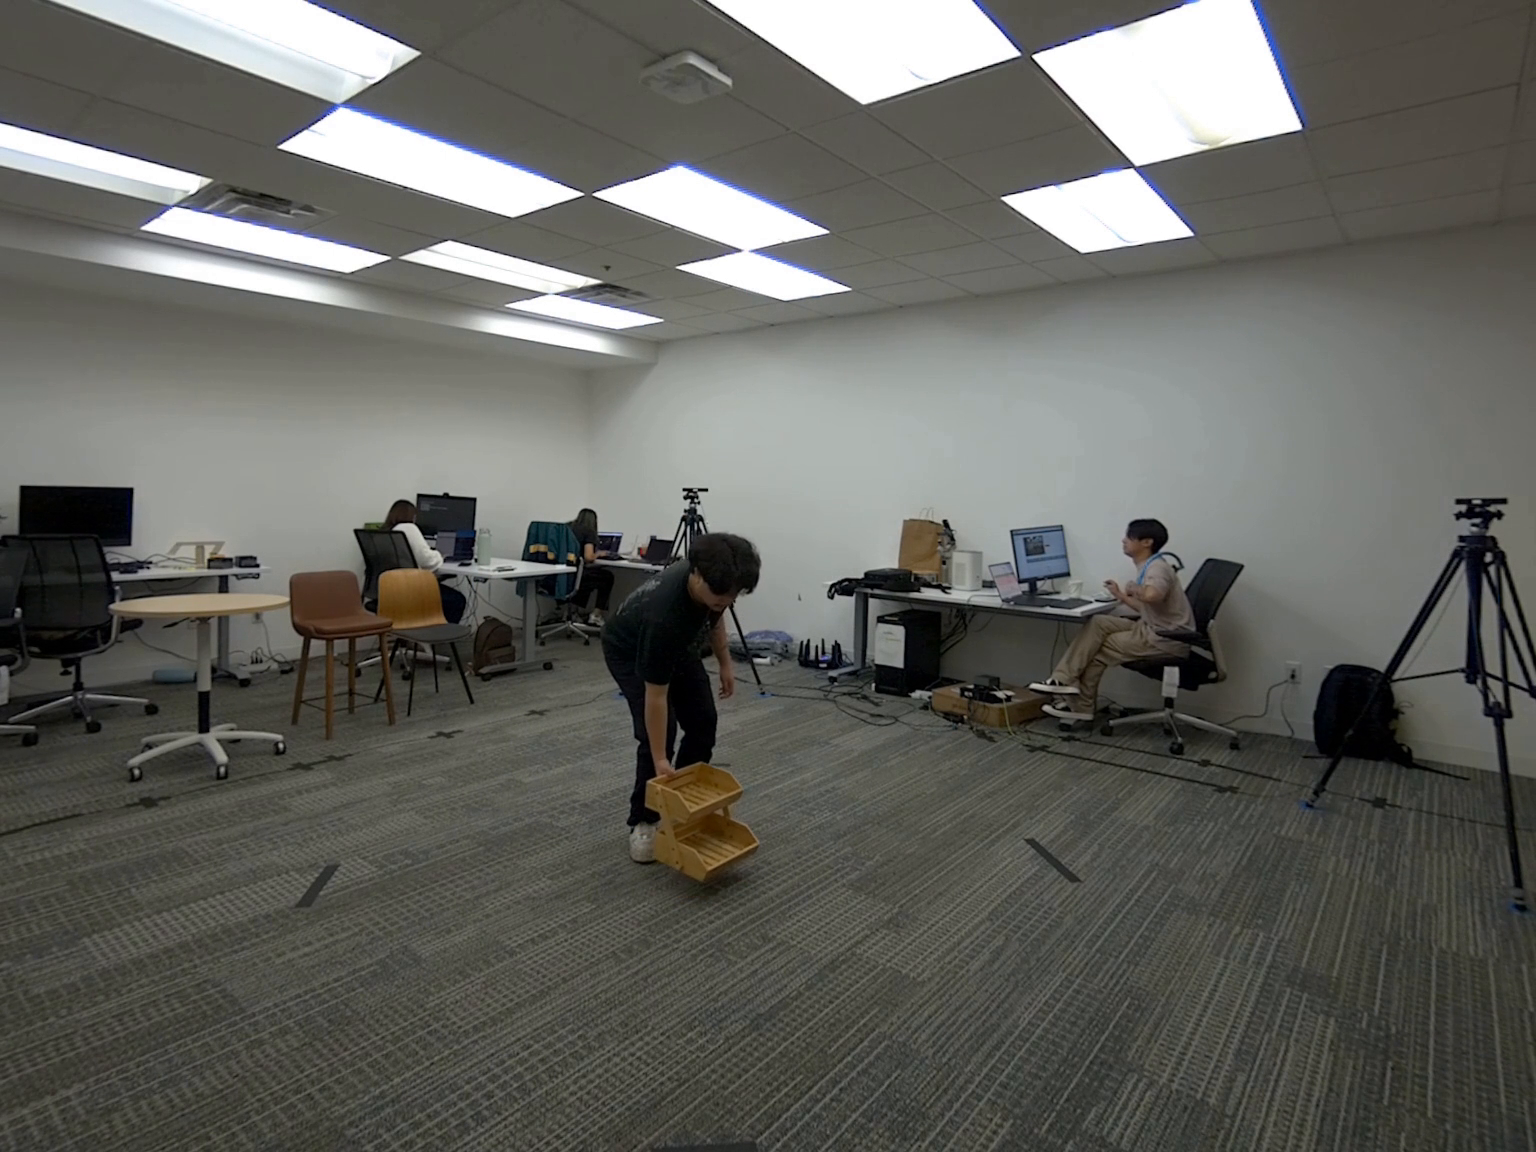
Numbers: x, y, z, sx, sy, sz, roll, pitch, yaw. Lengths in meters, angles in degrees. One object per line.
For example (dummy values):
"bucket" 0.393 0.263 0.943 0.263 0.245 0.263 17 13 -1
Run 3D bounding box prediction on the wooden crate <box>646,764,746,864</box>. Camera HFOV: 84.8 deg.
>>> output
"wooden crate" -0.232 0.856 3.019 0.312 0.272 0.315 9 8 35
